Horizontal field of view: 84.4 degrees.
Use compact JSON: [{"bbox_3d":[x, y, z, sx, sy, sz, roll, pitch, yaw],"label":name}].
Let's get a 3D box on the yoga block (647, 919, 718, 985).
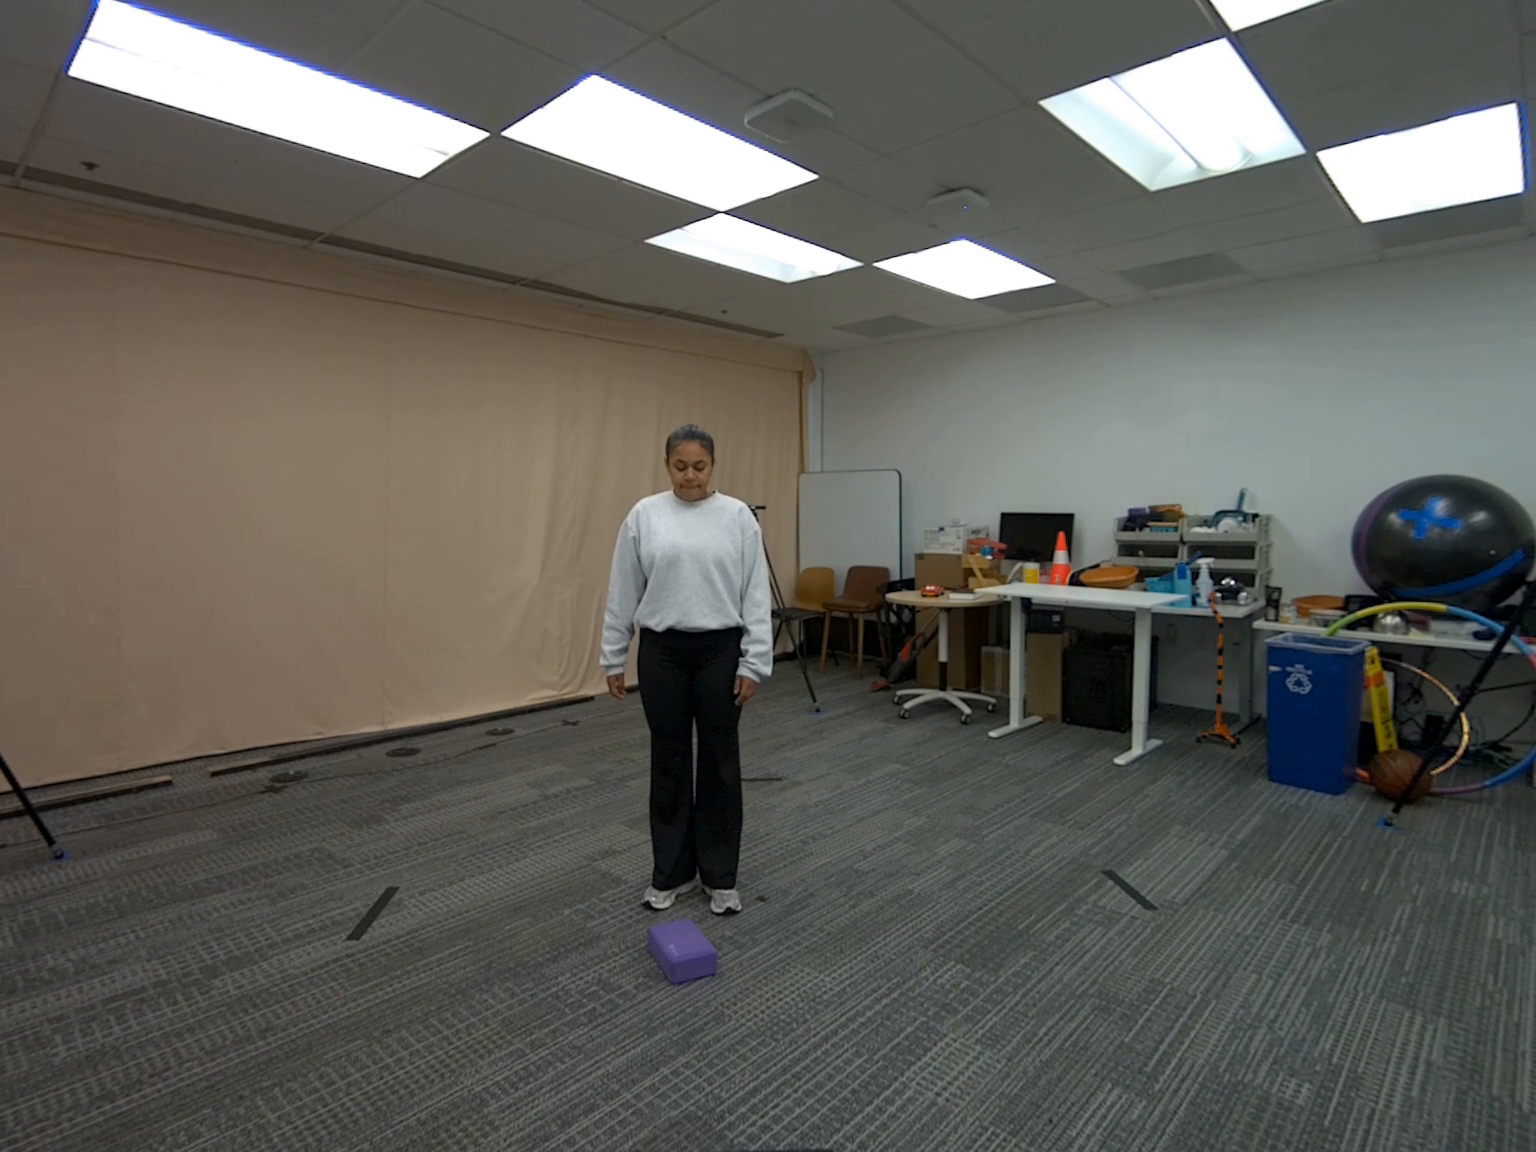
[{"bbox_3d":[-0.264,1.133,2.572,0.145,0.076,0.235,-2,5,-26],"label":"yoga block"}]
